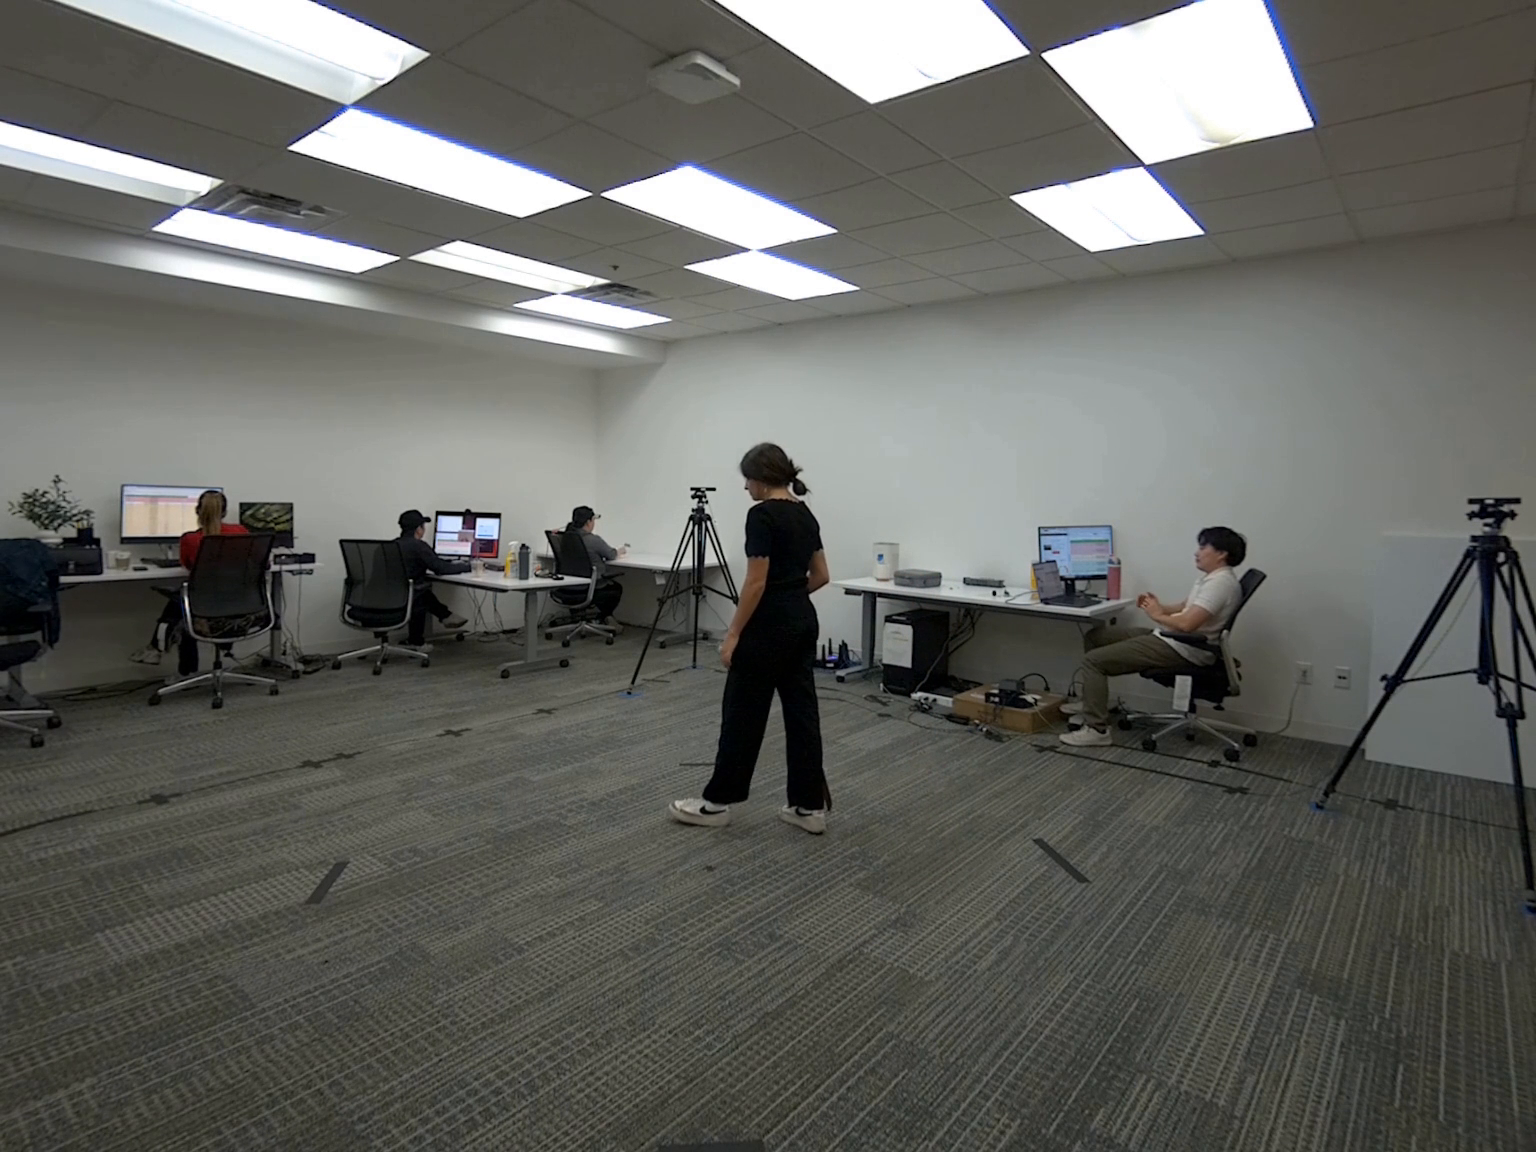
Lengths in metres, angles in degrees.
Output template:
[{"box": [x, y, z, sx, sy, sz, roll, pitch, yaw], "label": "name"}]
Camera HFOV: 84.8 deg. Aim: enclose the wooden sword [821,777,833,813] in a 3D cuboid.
[{"box": [0.120, 0.538, 3.729, 0.024, 1.032, 0.051, -16, -6, -15], "label": "wooden sword"}]
